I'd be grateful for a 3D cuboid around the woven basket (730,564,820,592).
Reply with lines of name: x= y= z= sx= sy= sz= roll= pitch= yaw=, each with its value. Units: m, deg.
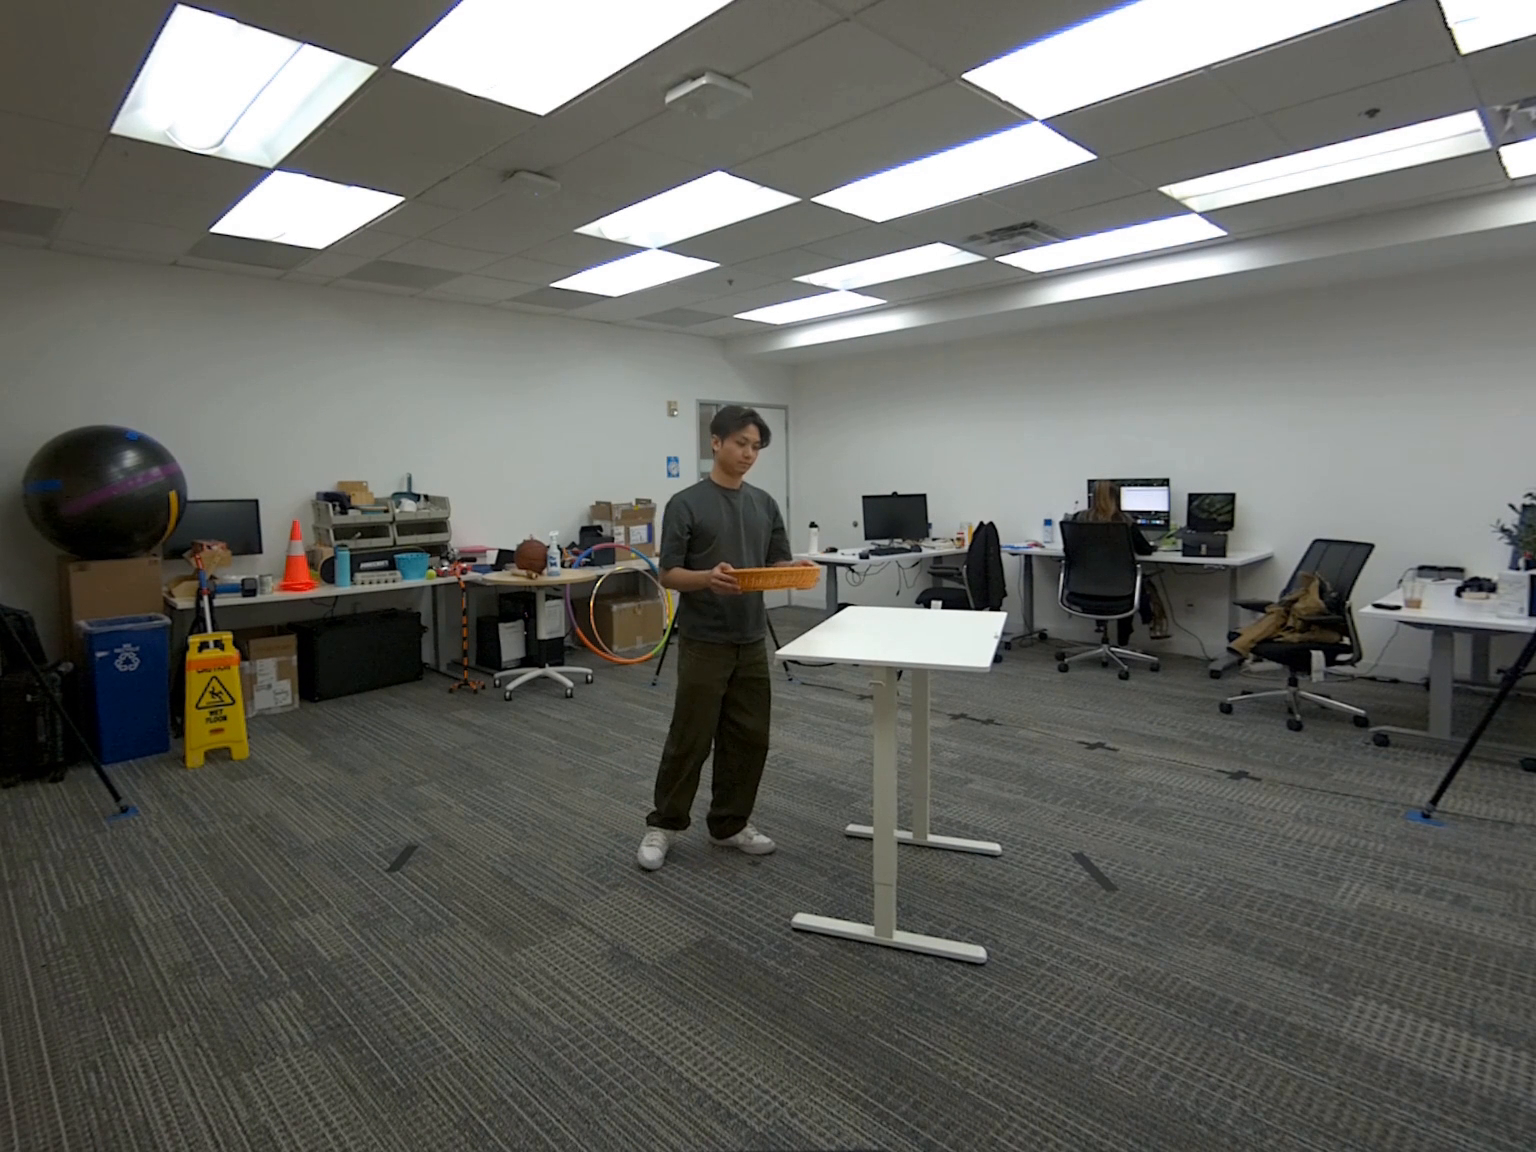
woven basket: x=-0.064 y=0.016 z=2.959 sx=0.342 sy=0.073 sz=0.259 roll=-5 pitch=3 yaw=-32
